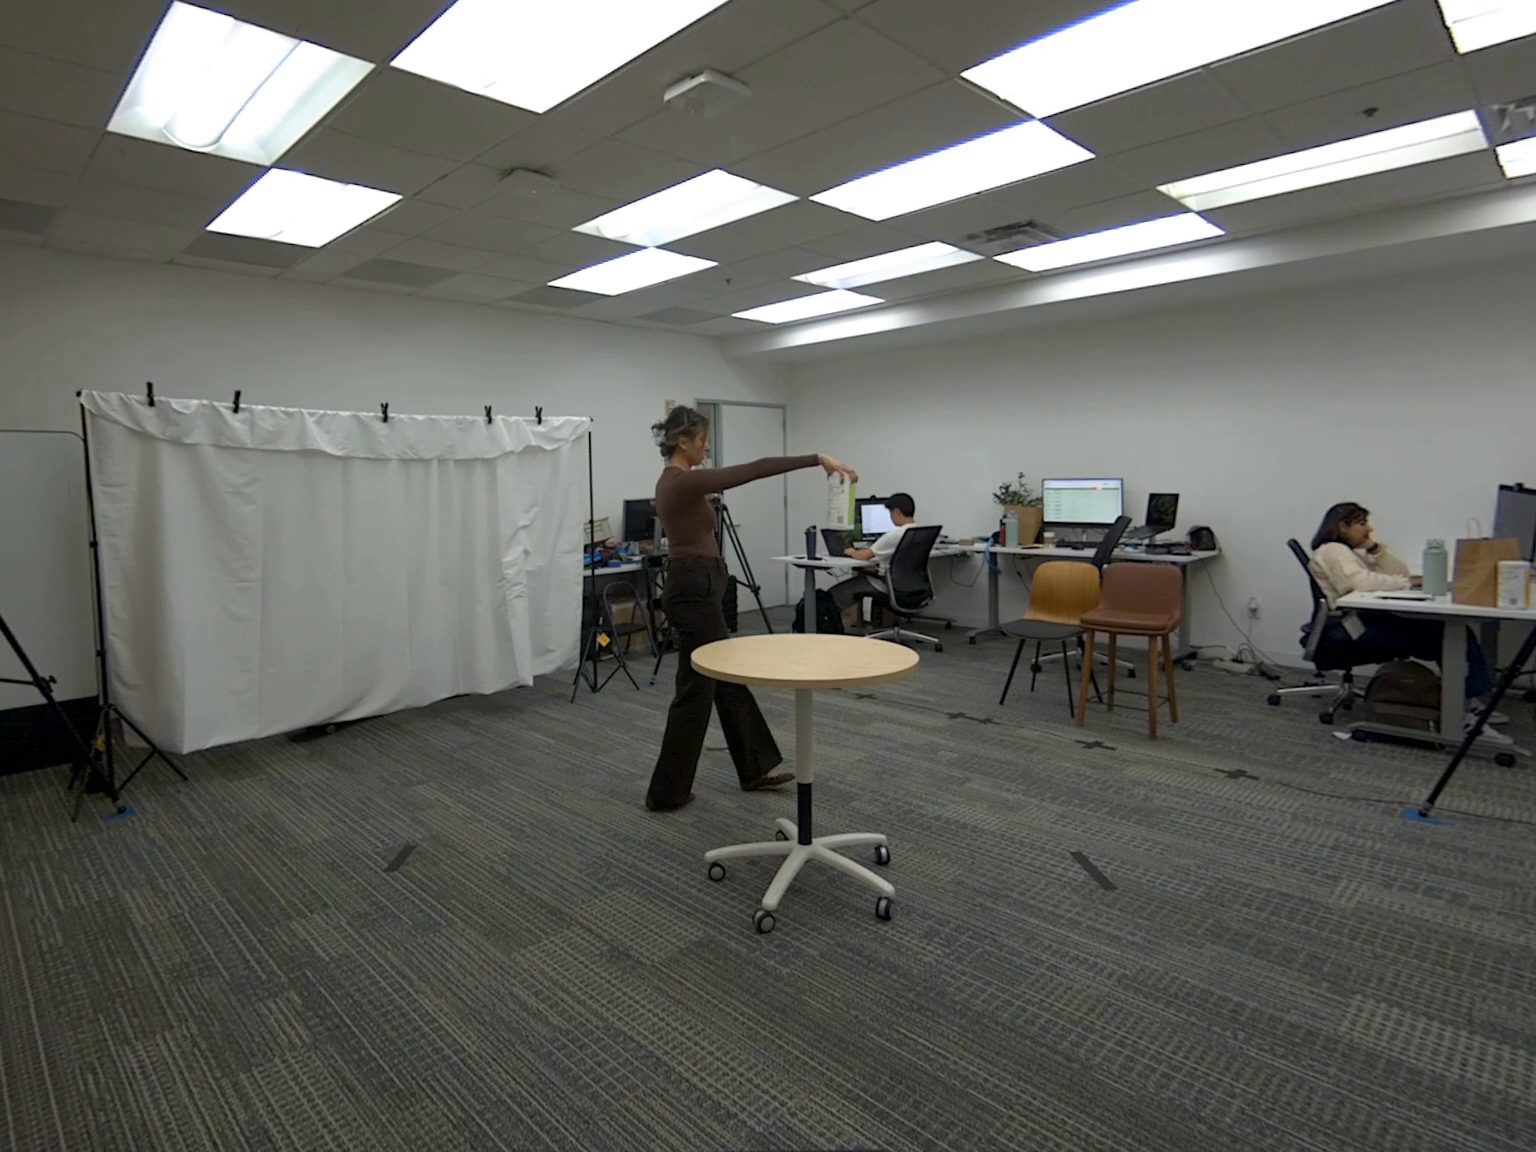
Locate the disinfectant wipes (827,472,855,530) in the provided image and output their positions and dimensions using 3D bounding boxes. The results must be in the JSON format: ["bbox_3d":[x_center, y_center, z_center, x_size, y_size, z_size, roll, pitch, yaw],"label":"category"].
[{"bbox_3d":[0.302,-0.298,3.443,0.117,0.216,0.118,2,5,-2],"label":"disinfectant wipes"}]
